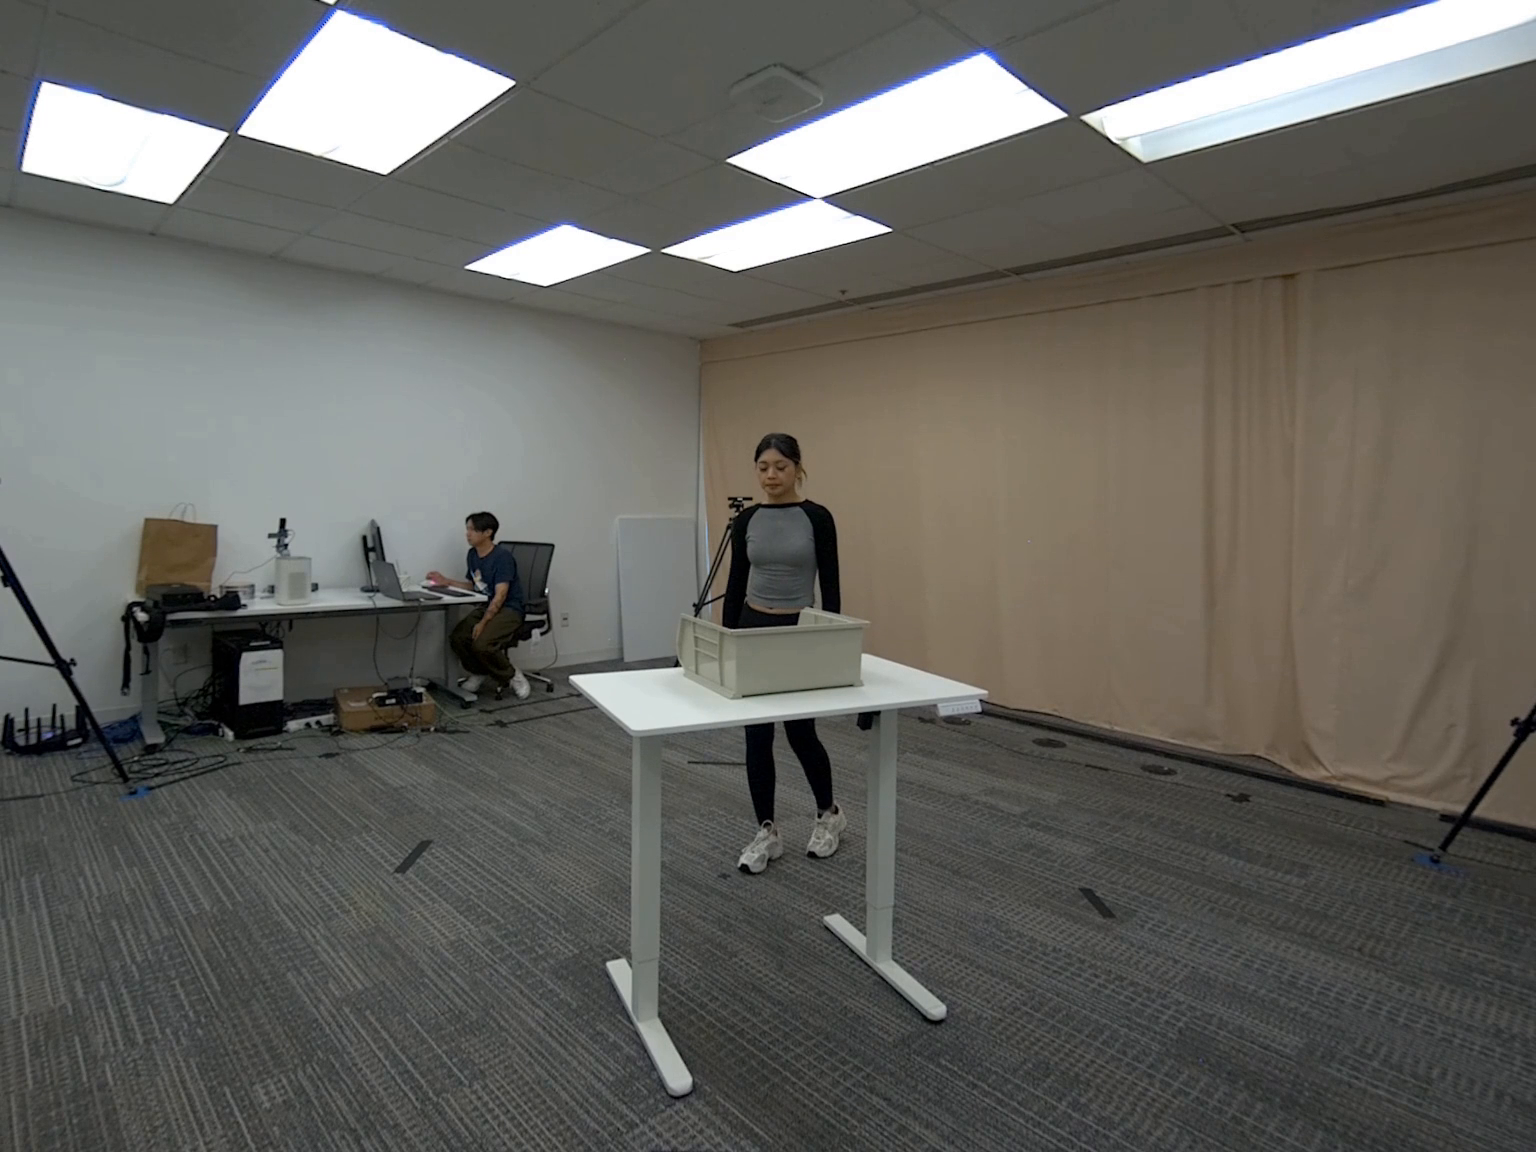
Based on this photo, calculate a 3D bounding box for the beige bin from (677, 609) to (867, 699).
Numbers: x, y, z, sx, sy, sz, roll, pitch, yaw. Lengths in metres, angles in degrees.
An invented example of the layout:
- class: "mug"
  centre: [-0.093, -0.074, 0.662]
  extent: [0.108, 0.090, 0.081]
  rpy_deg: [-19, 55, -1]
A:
- class: "beige bin"
  centre: [-0.003, 0.208, 2.374]
  extent: [0.414, 0.188, 0.386]
  rpy_deg: [0, 6, -28]
